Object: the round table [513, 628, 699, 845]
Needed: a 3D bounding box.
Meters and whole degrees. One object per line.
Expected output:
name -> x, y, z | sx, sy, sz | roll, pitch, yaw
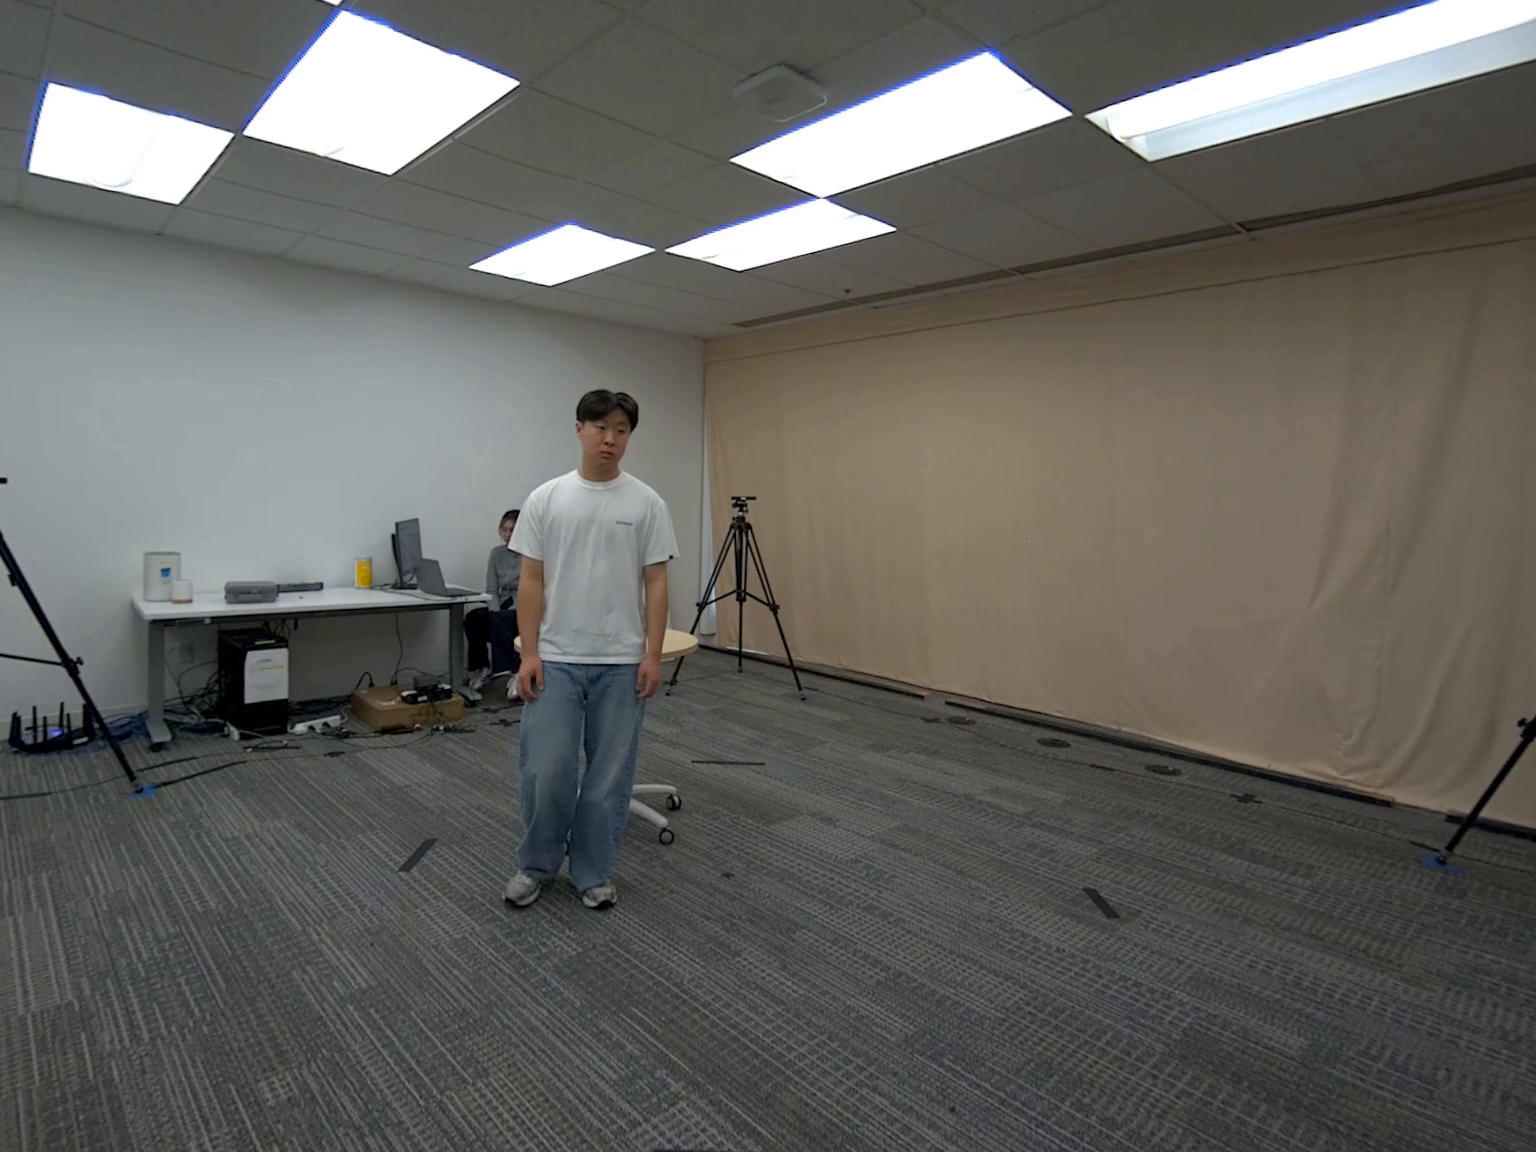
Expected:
round table -> -0.692, 0.668, 3.569 | 0.763, 0.792, 0.767 | 2, 4, -1
